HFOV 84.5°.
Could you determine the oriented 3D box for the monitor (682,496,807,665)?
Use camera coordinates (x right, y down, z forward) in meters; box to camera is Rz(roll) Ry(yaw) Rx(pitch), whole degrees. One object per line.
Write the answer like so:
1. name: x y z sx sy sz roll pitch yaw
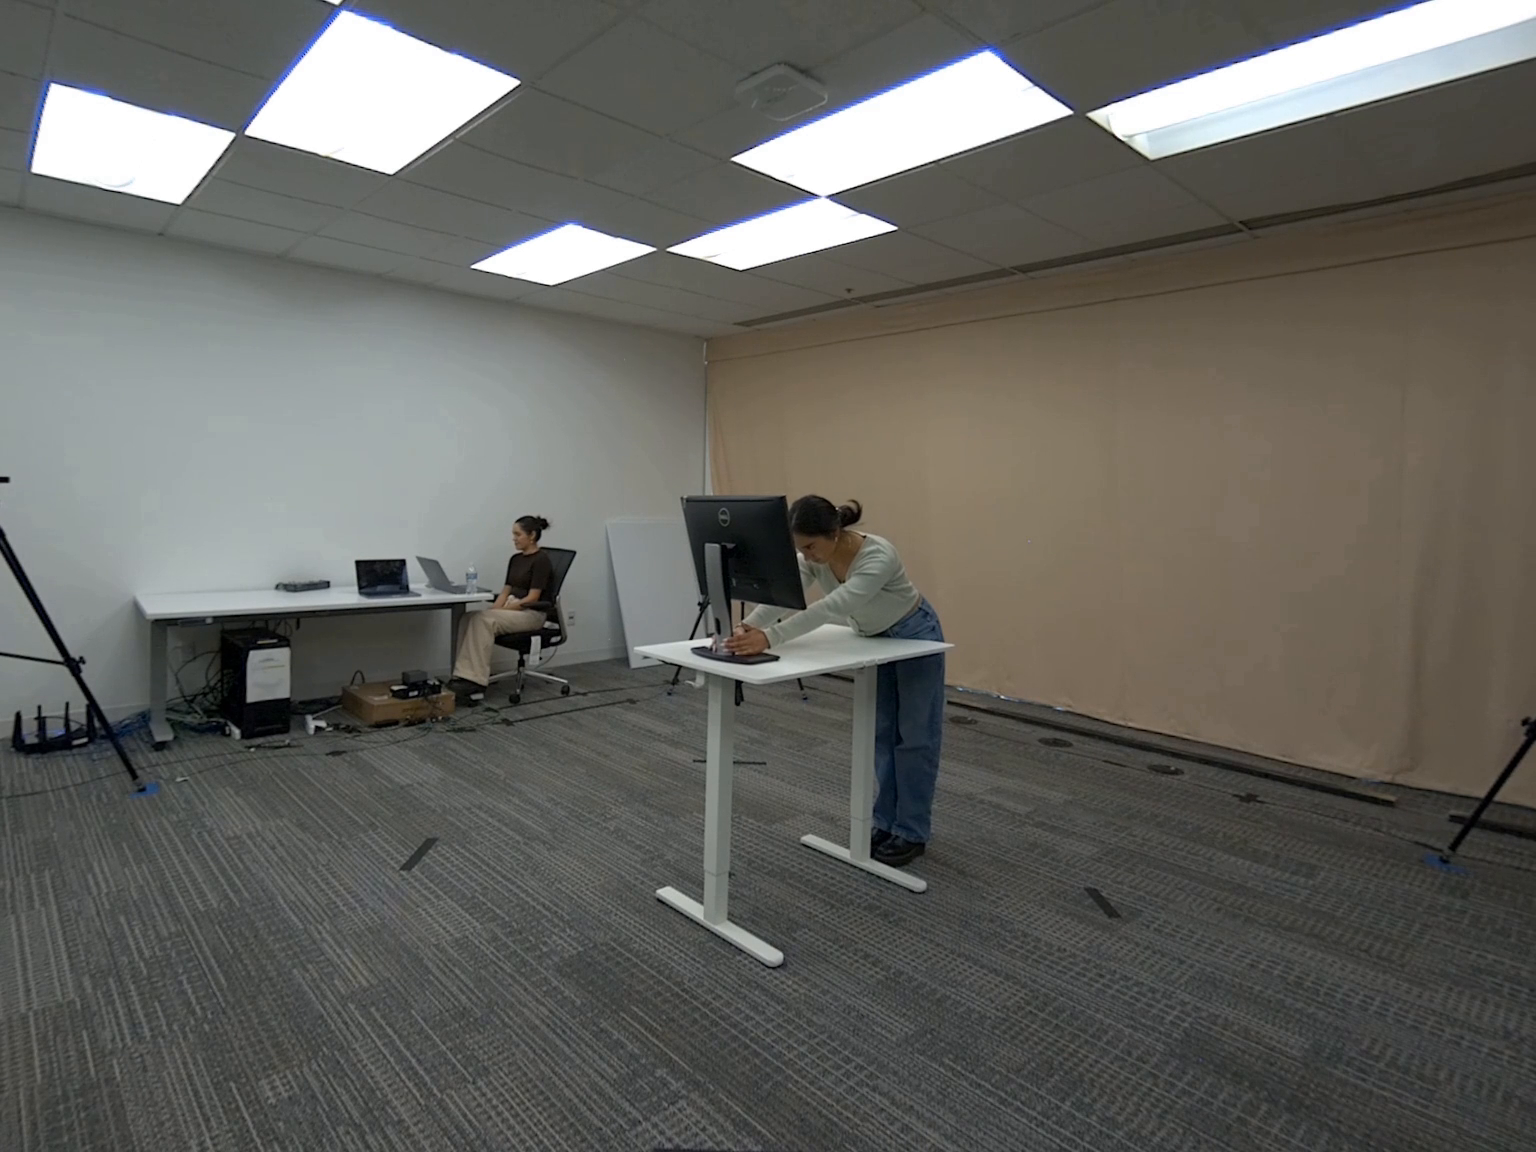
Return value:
1. monitor: -0.116 0.007 2.653 0.183 0.521 0.552 -4 6 -40
